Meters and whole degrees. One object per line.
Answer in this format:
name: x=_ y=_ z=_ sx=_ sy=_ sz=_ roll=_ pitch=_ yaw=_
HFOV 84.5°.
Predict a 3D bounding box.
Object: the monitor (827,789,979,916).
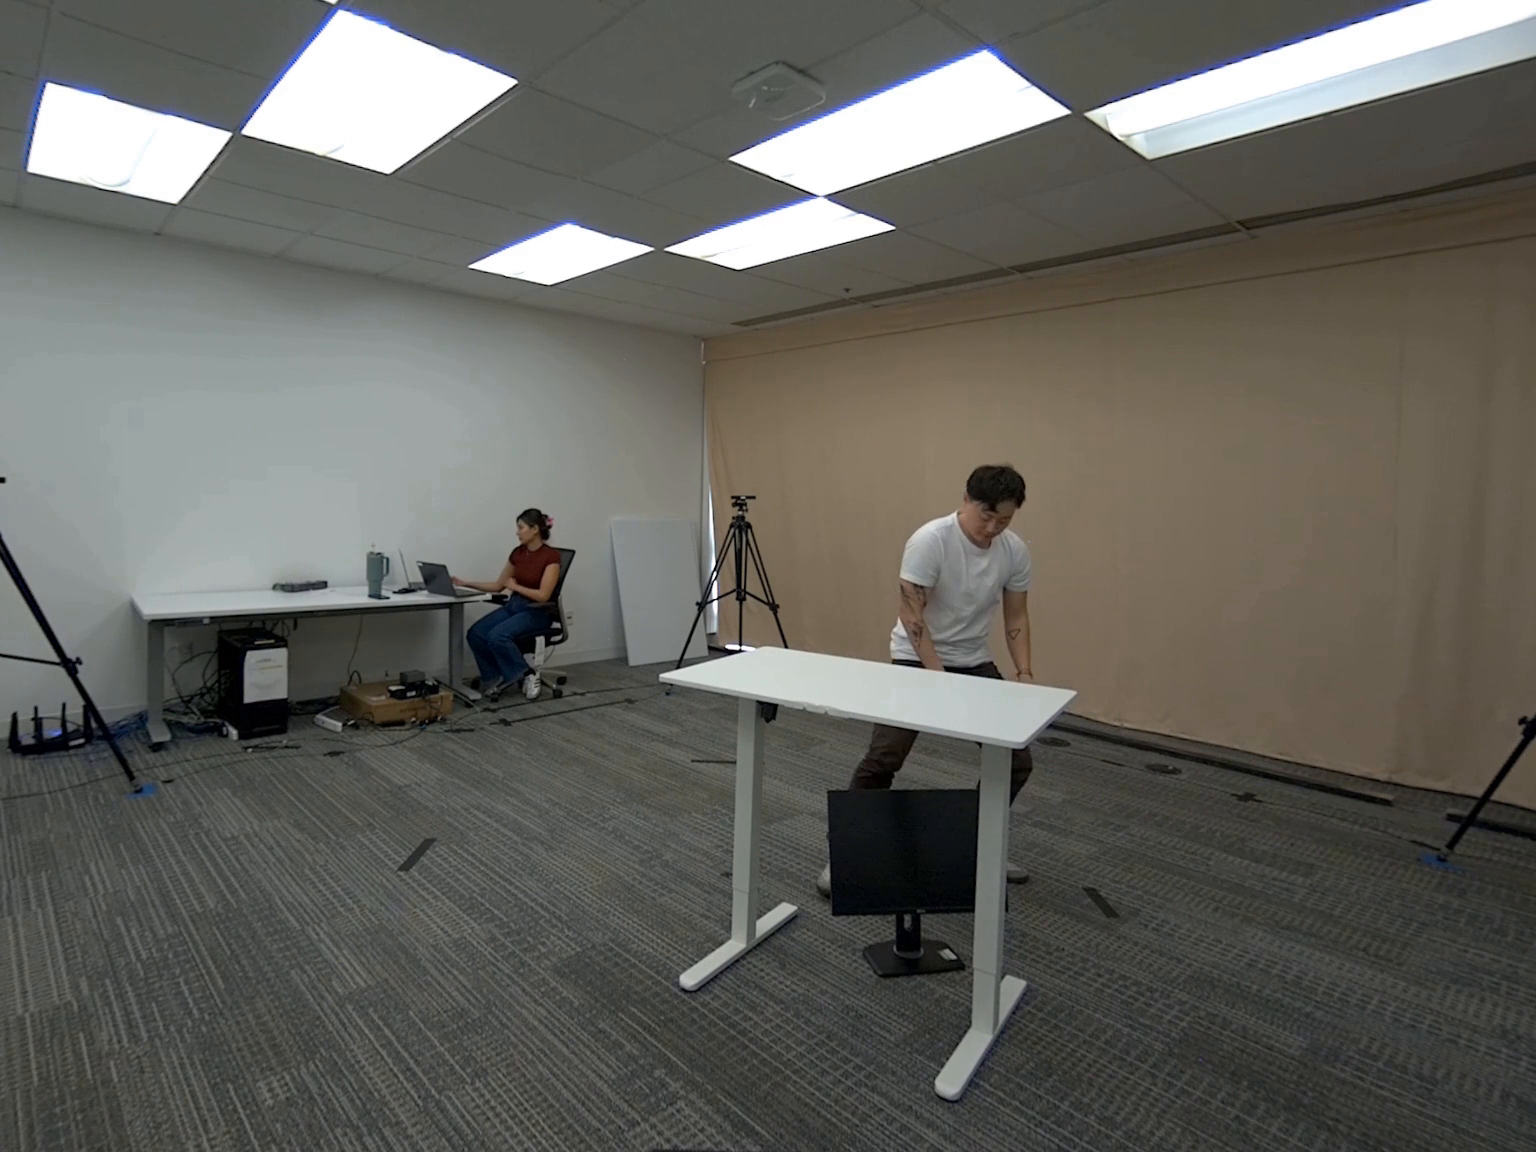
monitor: x=0.434 y=0.914 z=2.553 sx=0.535 sy=0.522 sz=0.188 roll=0 pitch=1 yaw=-8
